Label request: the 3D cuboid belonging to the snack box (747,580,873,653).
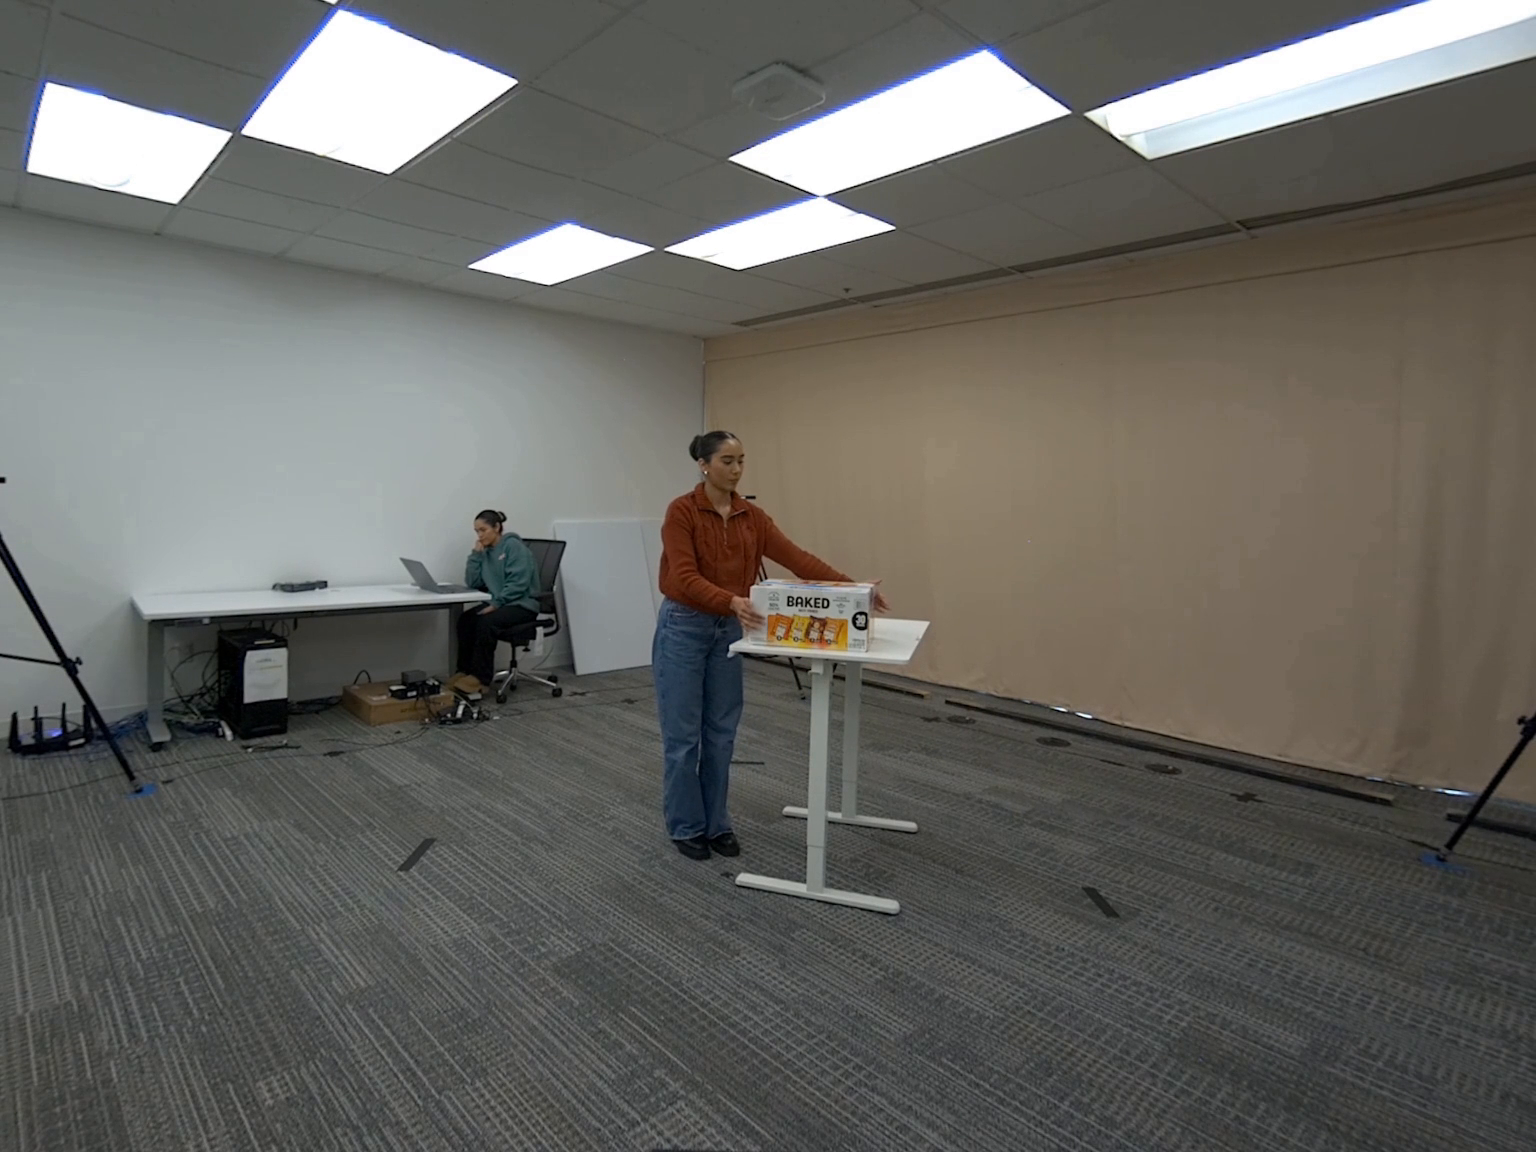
[{"bbox_3d":[0.162,0.132,3.010,0.409,0.205,0.337,2,3,13],"label":"snack box"}]
